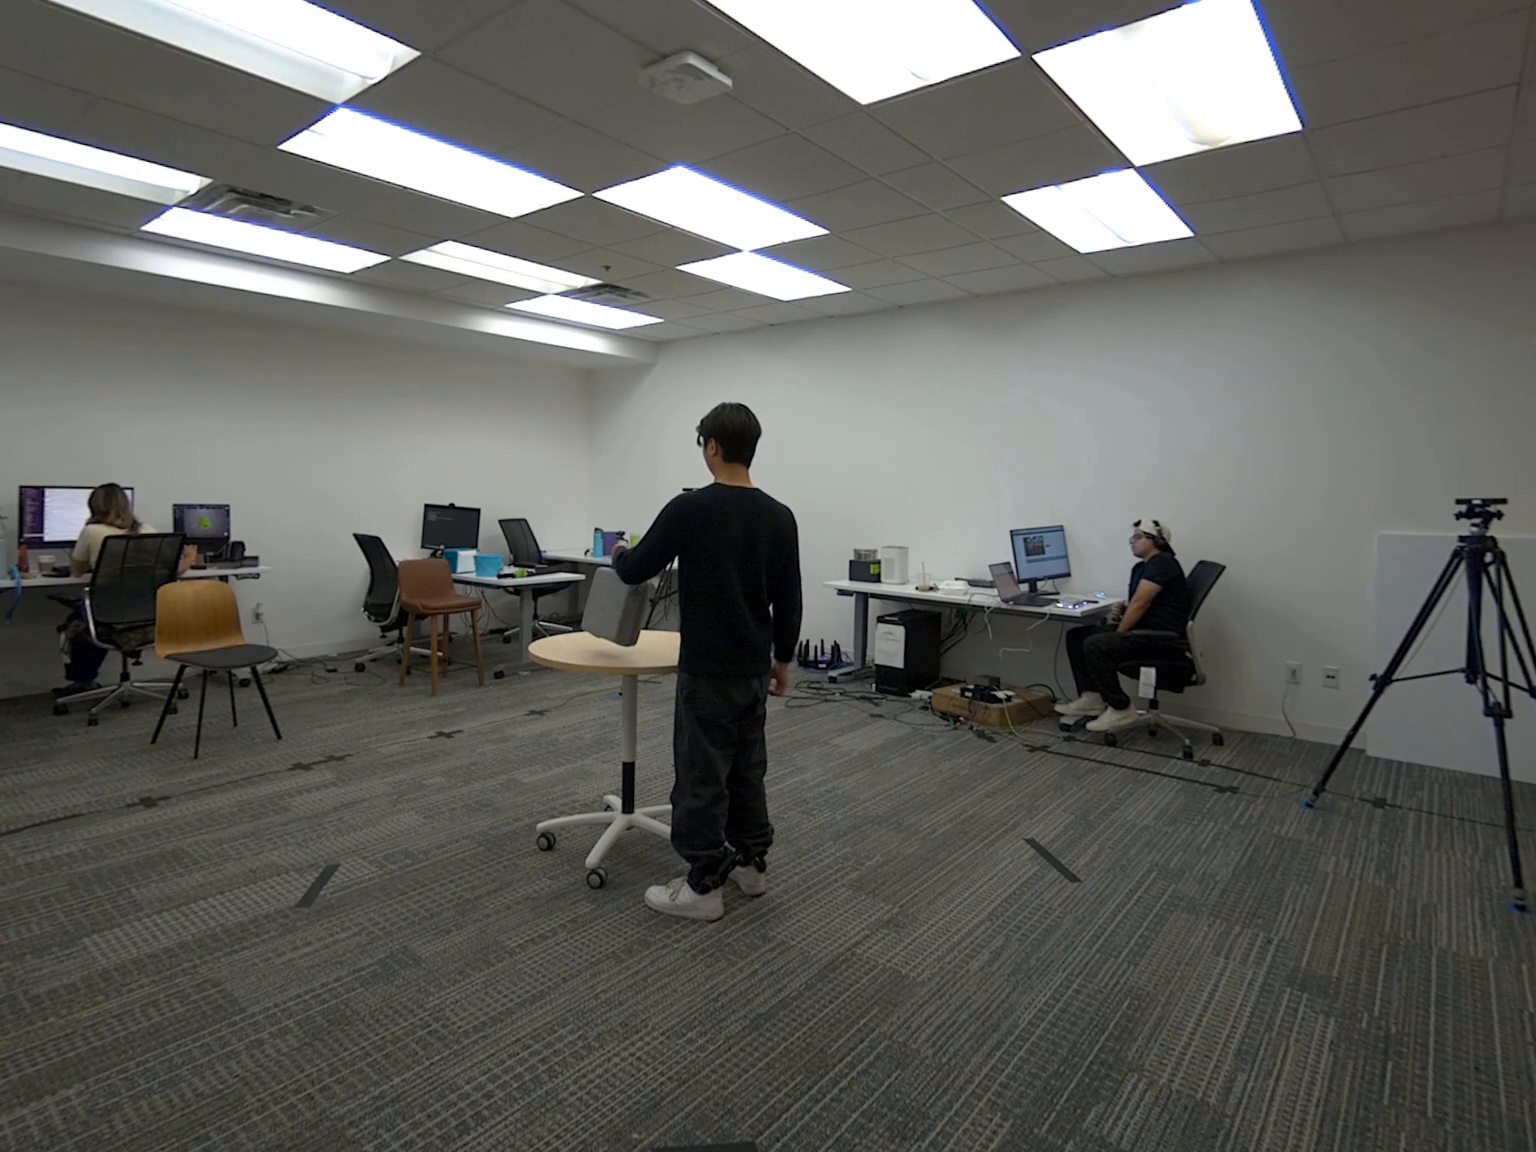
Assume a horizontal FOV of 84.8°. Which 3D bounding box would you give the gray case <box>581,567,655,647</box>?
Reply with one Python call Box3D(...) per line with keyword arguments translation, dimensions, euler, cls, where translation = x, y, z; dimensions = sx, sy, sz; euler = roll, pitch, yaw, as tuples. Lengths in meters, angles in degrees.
Box3D(translation=(-0.559, 0.104, 3.095), dimensions=(0.100, 0.261, 0.266), euler=(15, -3, -41), cls="gray case")
